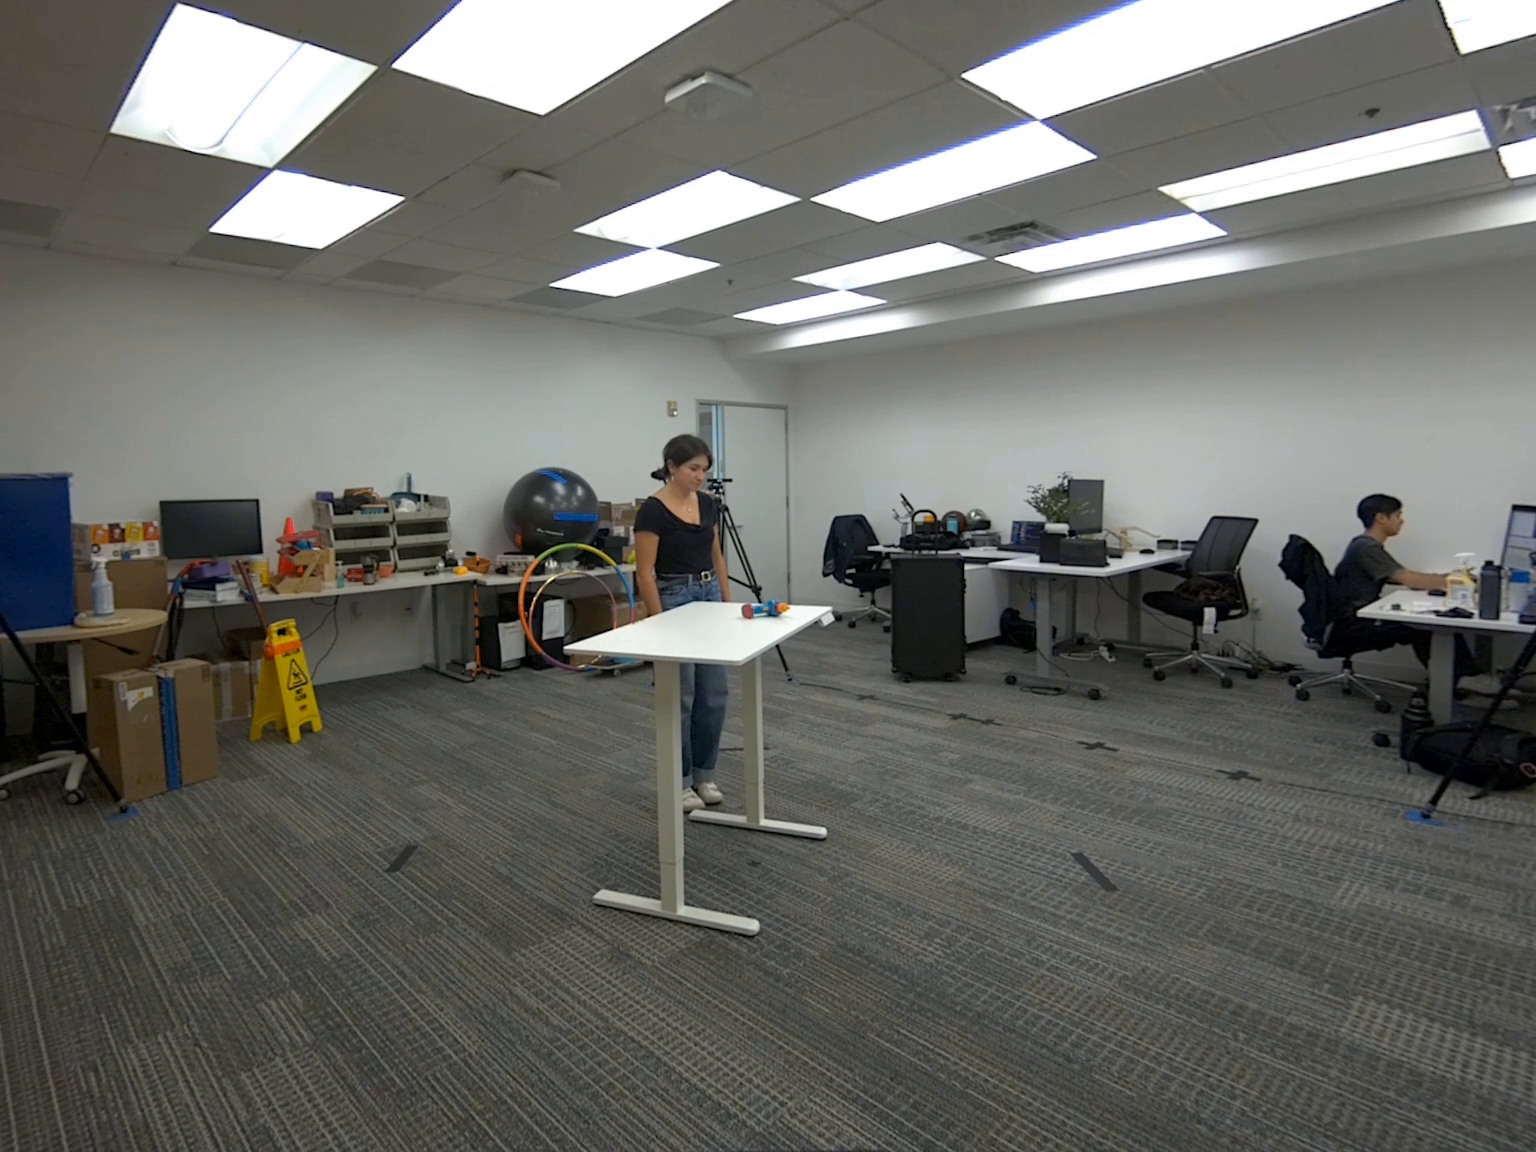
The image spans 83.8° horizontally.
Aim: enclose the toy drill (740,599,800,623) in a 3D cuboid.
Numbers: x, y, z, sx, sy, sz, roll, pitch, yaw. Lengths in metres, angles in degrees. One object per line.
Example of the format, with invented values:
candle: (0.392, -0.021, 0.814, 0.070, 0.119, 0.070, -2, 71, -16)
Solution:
toy drill: (0.005, 0.125, 3.150, 0.143, 0.061, 0.174, -7, 4, -30)
